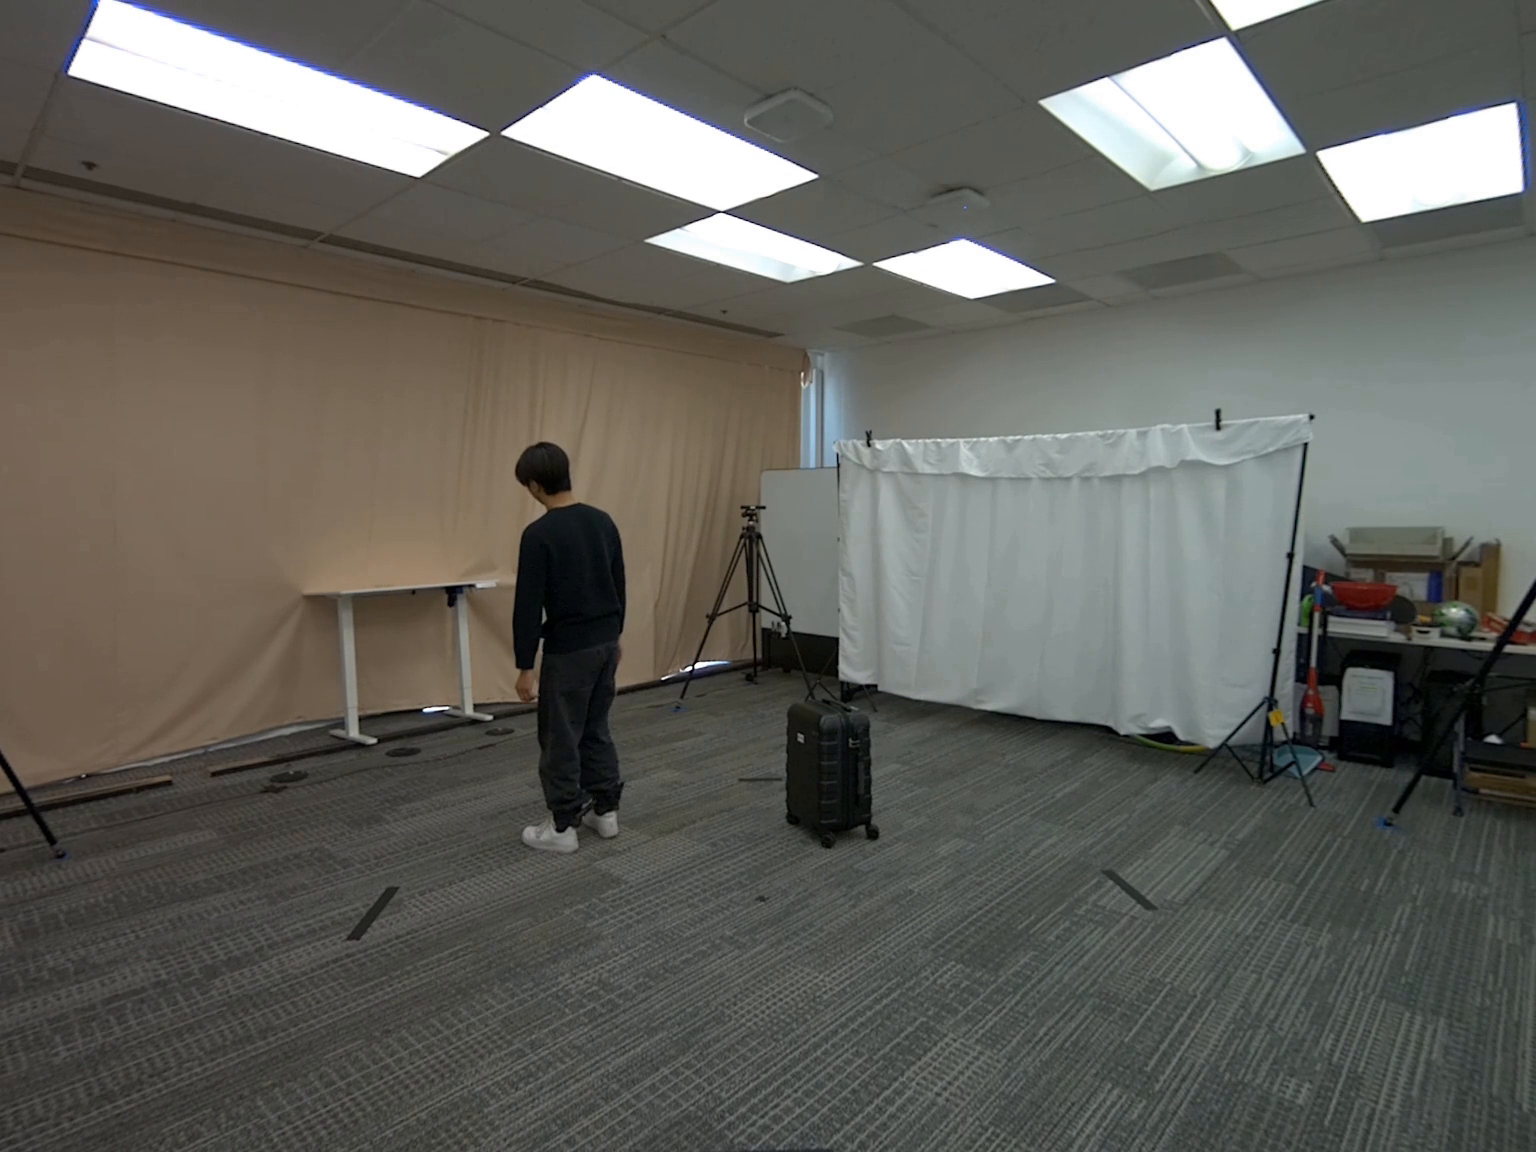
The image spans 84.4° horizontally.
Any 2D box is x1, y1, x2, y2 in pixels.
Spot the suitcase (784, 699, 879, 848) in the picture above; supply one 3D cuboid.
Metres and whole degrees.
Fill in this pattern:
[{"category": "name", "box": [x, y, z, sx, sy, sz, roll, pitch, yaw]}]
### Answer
[{"category": "suitcase", "box": [0.260, 0.817, 3.603, 0.242, 0.548, 0.385, -3, 3, -26]}]
